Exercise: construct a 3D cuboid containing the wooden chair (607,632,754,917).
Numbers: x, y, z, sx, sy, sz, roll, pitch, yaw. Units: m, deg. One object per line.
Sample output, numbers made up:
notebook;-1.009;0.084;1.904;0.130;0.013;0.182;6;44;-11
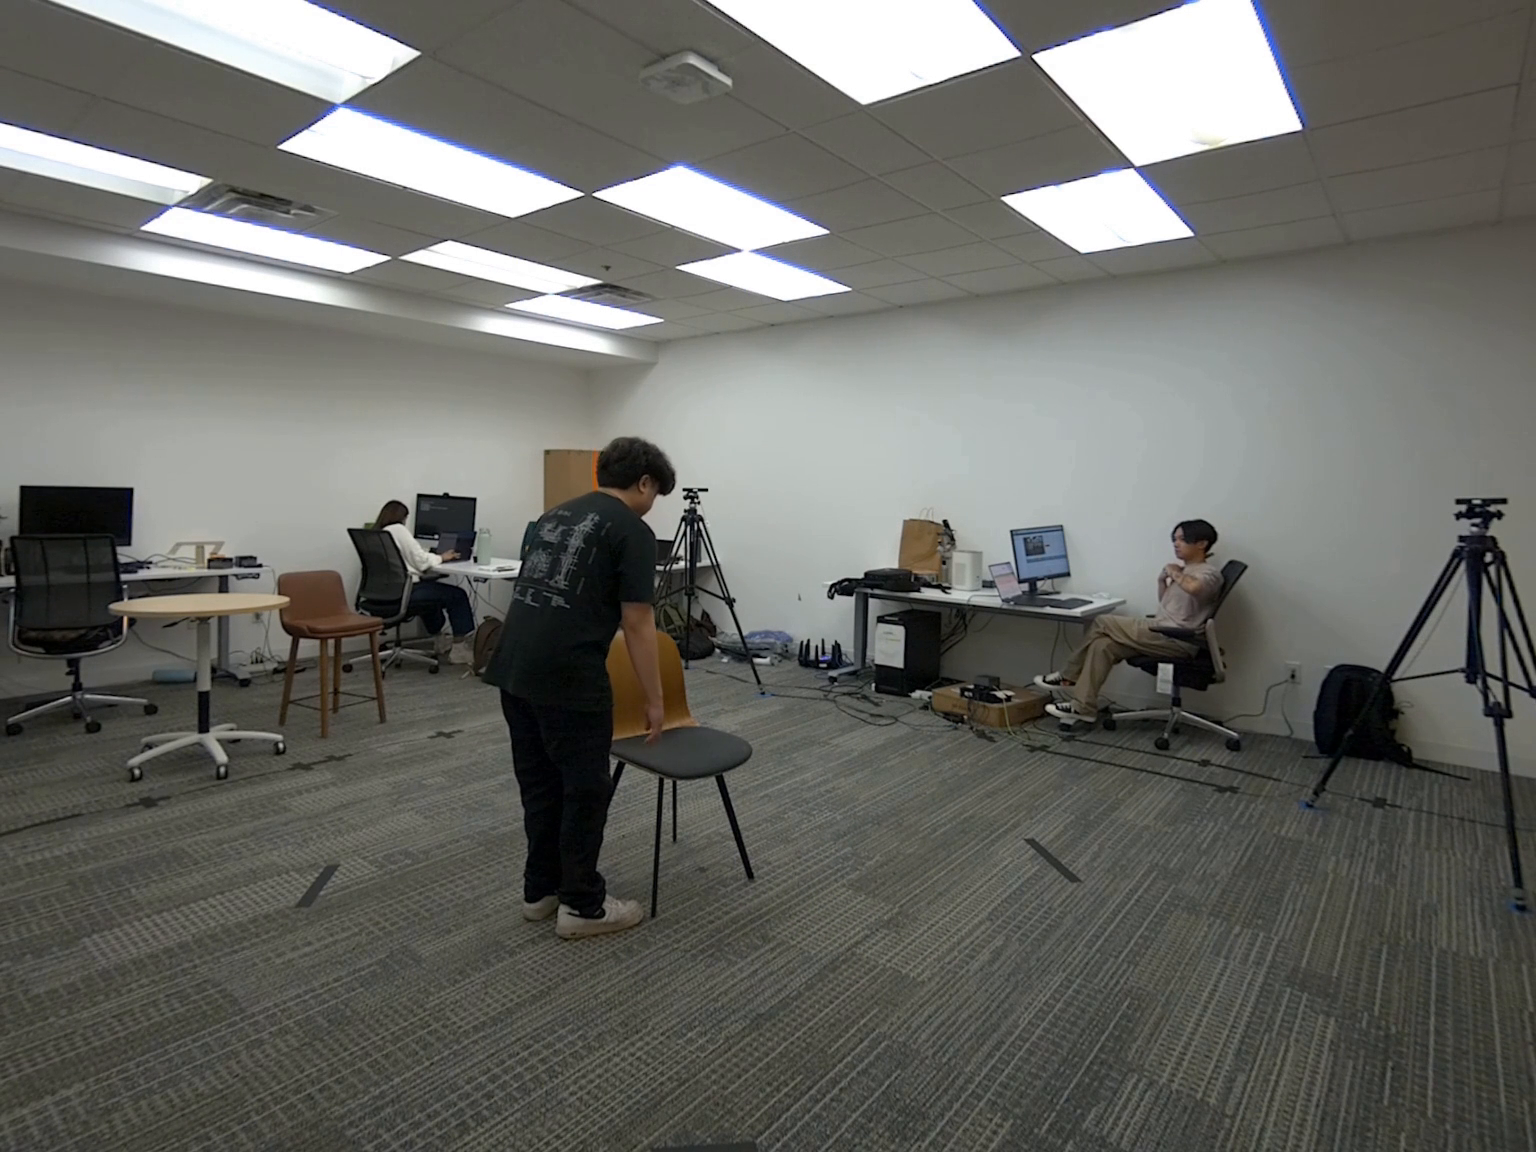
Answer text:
wooden chair;-0.356;0.645;3.025;0.463;0.878;0.539;-1;0;-44
